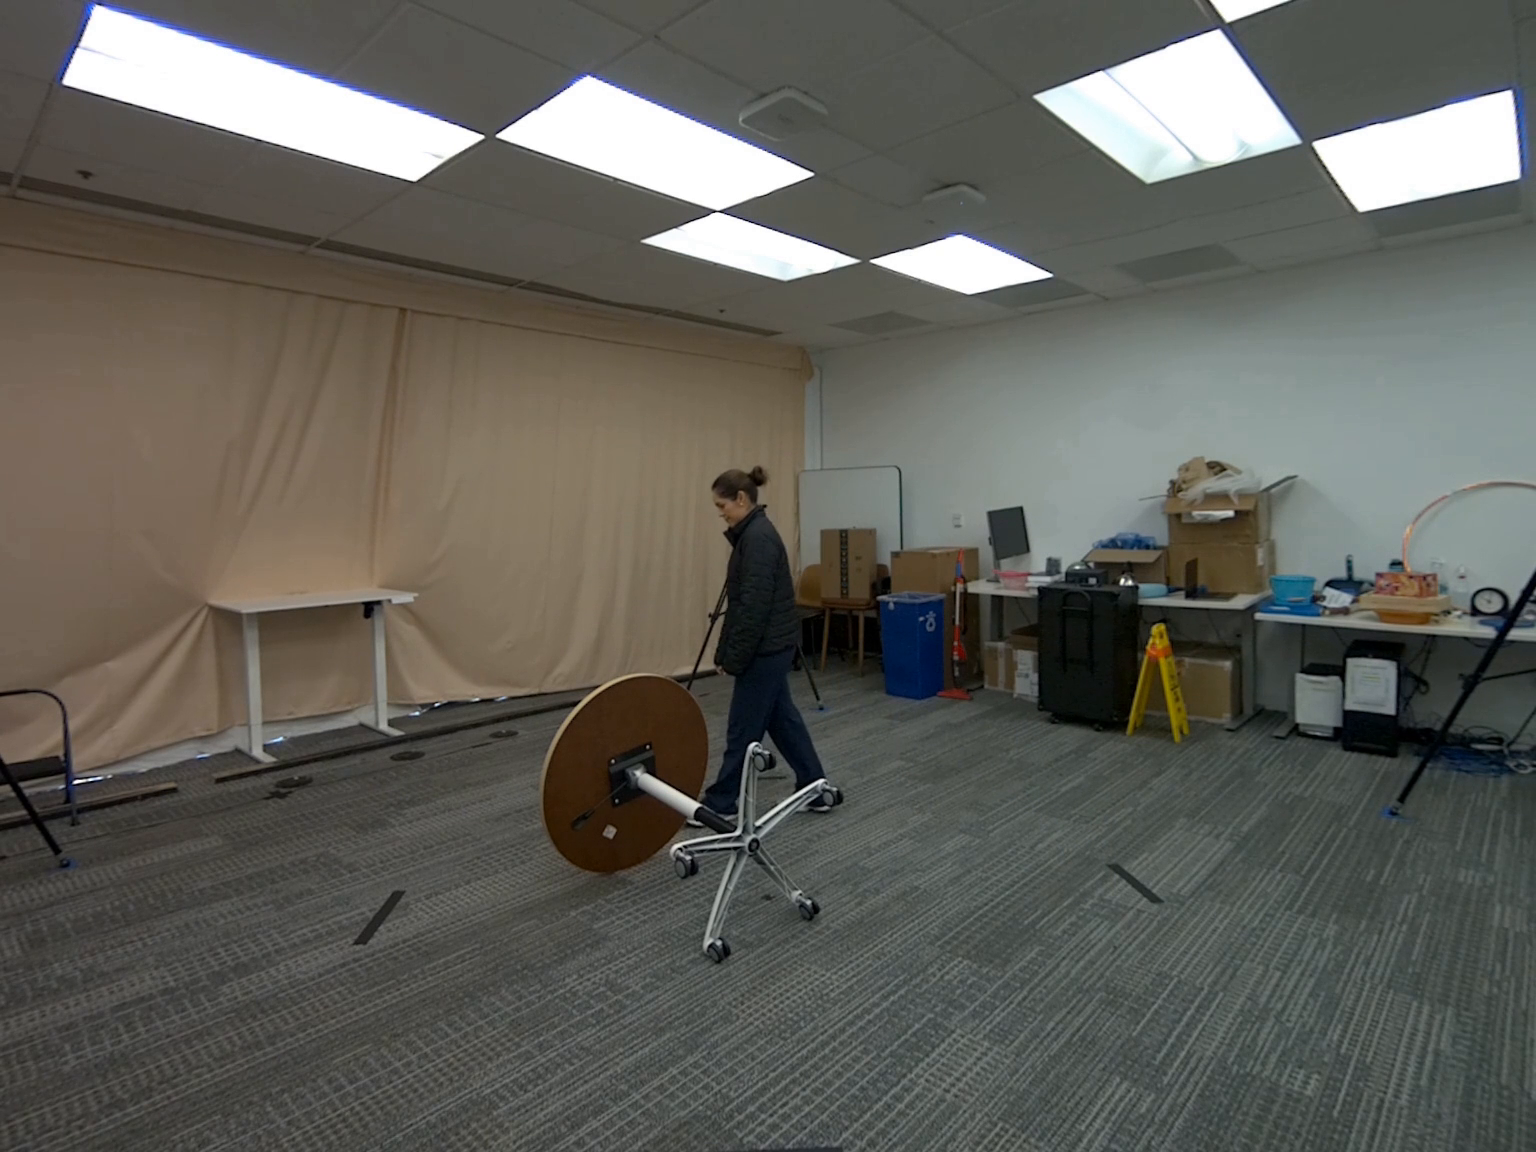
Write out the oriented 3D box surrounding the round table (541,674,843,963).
[{"bbox_3d":[-0.254,0.813,2.922,0.761,0.781,0.814,-4,10,-42],"label":"round table"}]
